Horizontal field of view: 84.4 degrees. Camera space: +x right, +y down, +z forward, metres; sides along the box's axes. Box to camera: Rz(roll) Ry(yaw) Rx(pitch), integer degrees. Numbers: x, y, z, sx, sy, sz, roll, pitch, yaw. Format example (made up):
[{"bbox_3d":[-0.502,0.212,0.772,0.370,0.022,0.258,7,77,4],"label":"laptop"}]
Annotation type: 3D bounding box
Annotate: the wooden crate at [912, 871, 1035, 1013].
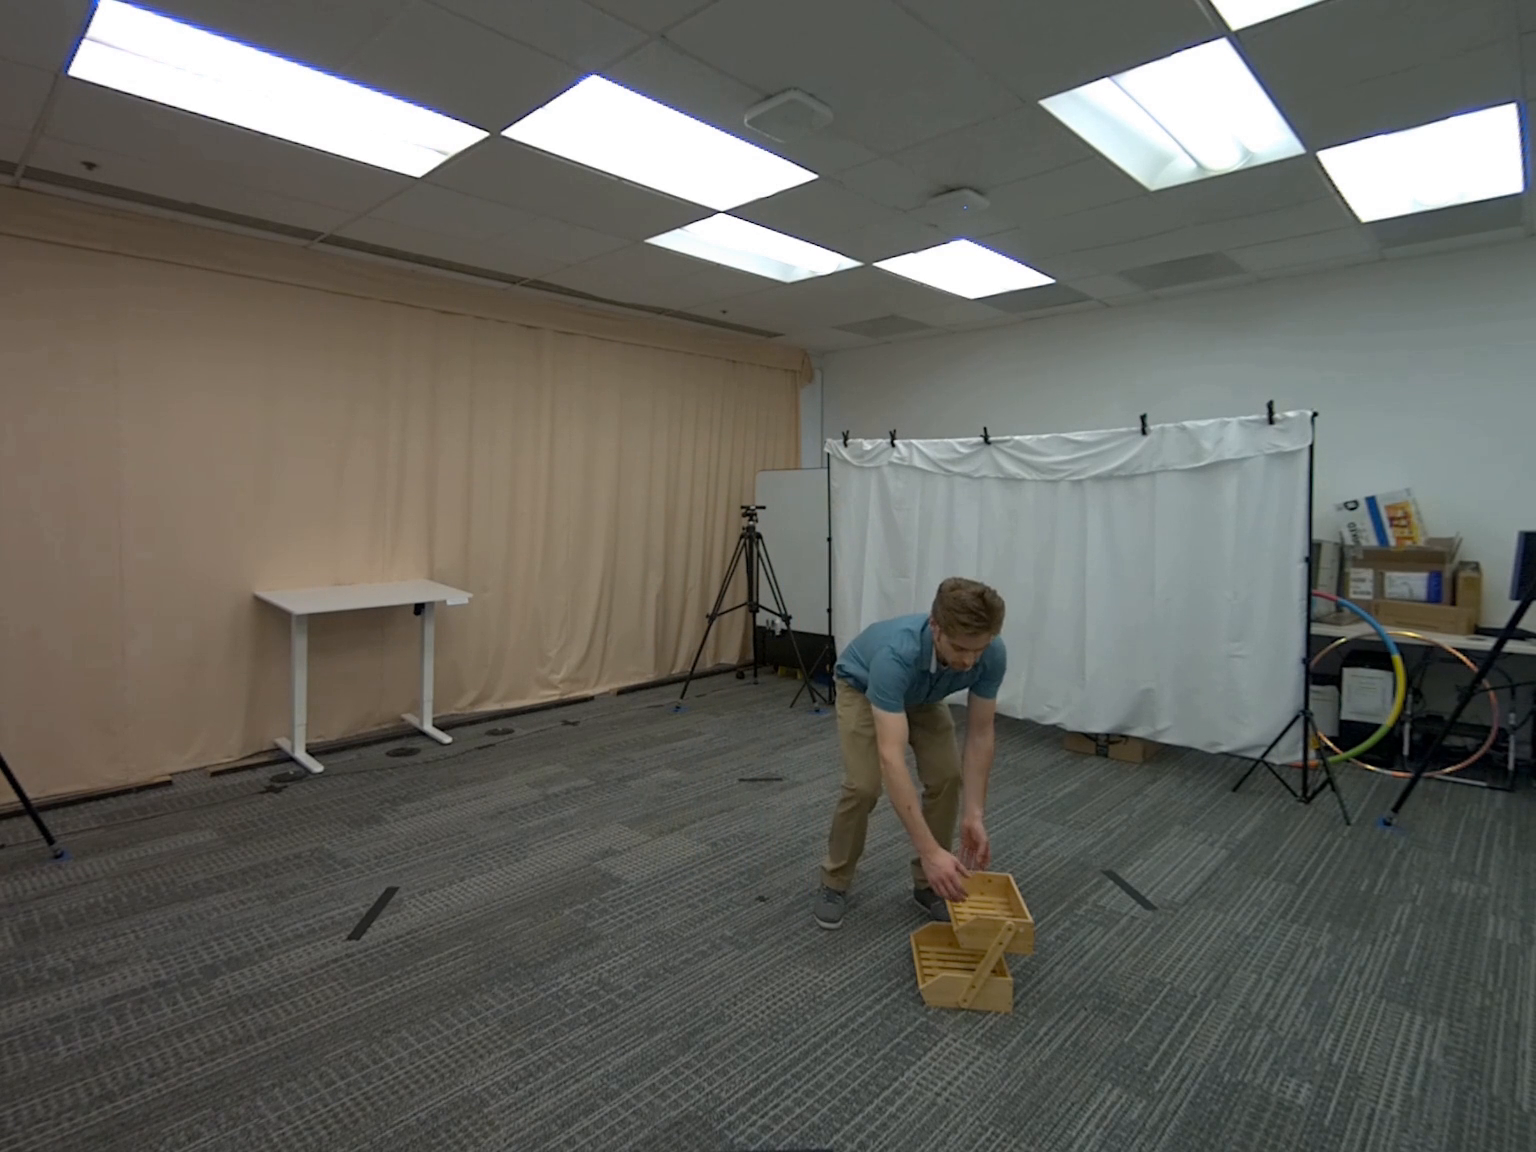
[{"bbox_3d":[0.589,1.053,2.464,0.304,0.273,0.323,2,4,6],"label":"wooden crate"}]
